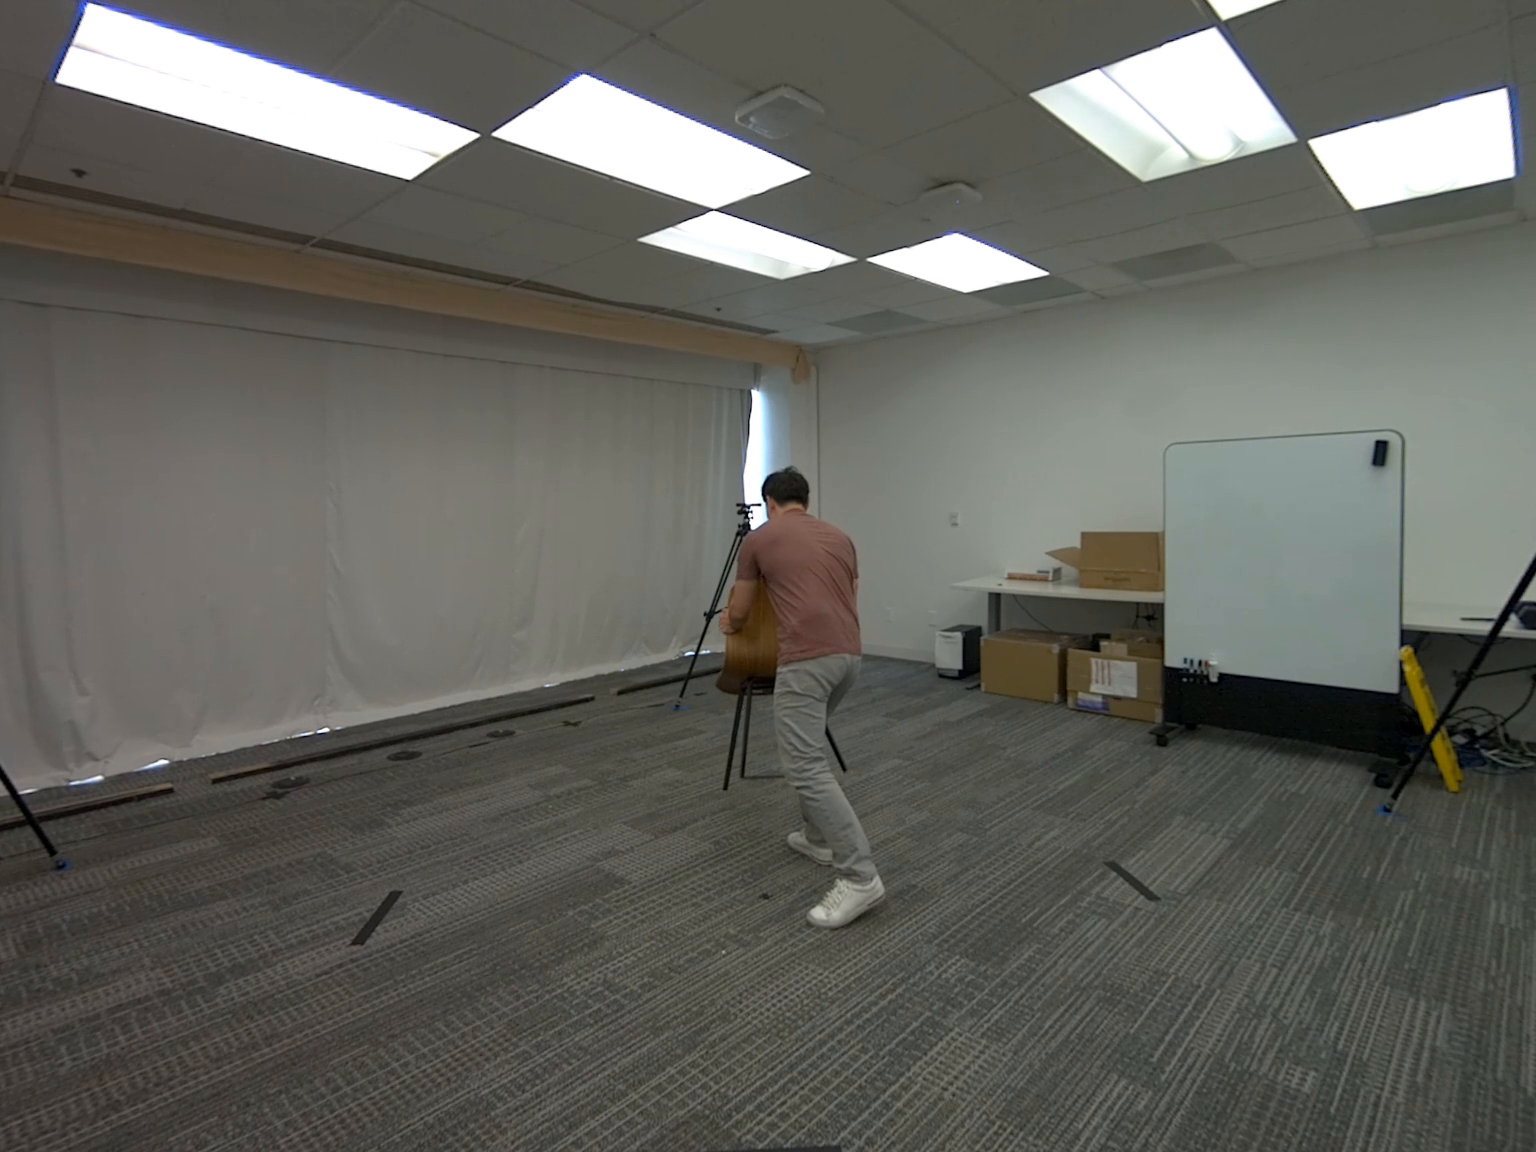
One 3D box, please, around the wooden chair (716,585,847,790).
[{"bbox_3d":[0.017,0.489,3.753,0.473,0.888,0.522,-2,-17,-11],"label":"wooden chair"}]
